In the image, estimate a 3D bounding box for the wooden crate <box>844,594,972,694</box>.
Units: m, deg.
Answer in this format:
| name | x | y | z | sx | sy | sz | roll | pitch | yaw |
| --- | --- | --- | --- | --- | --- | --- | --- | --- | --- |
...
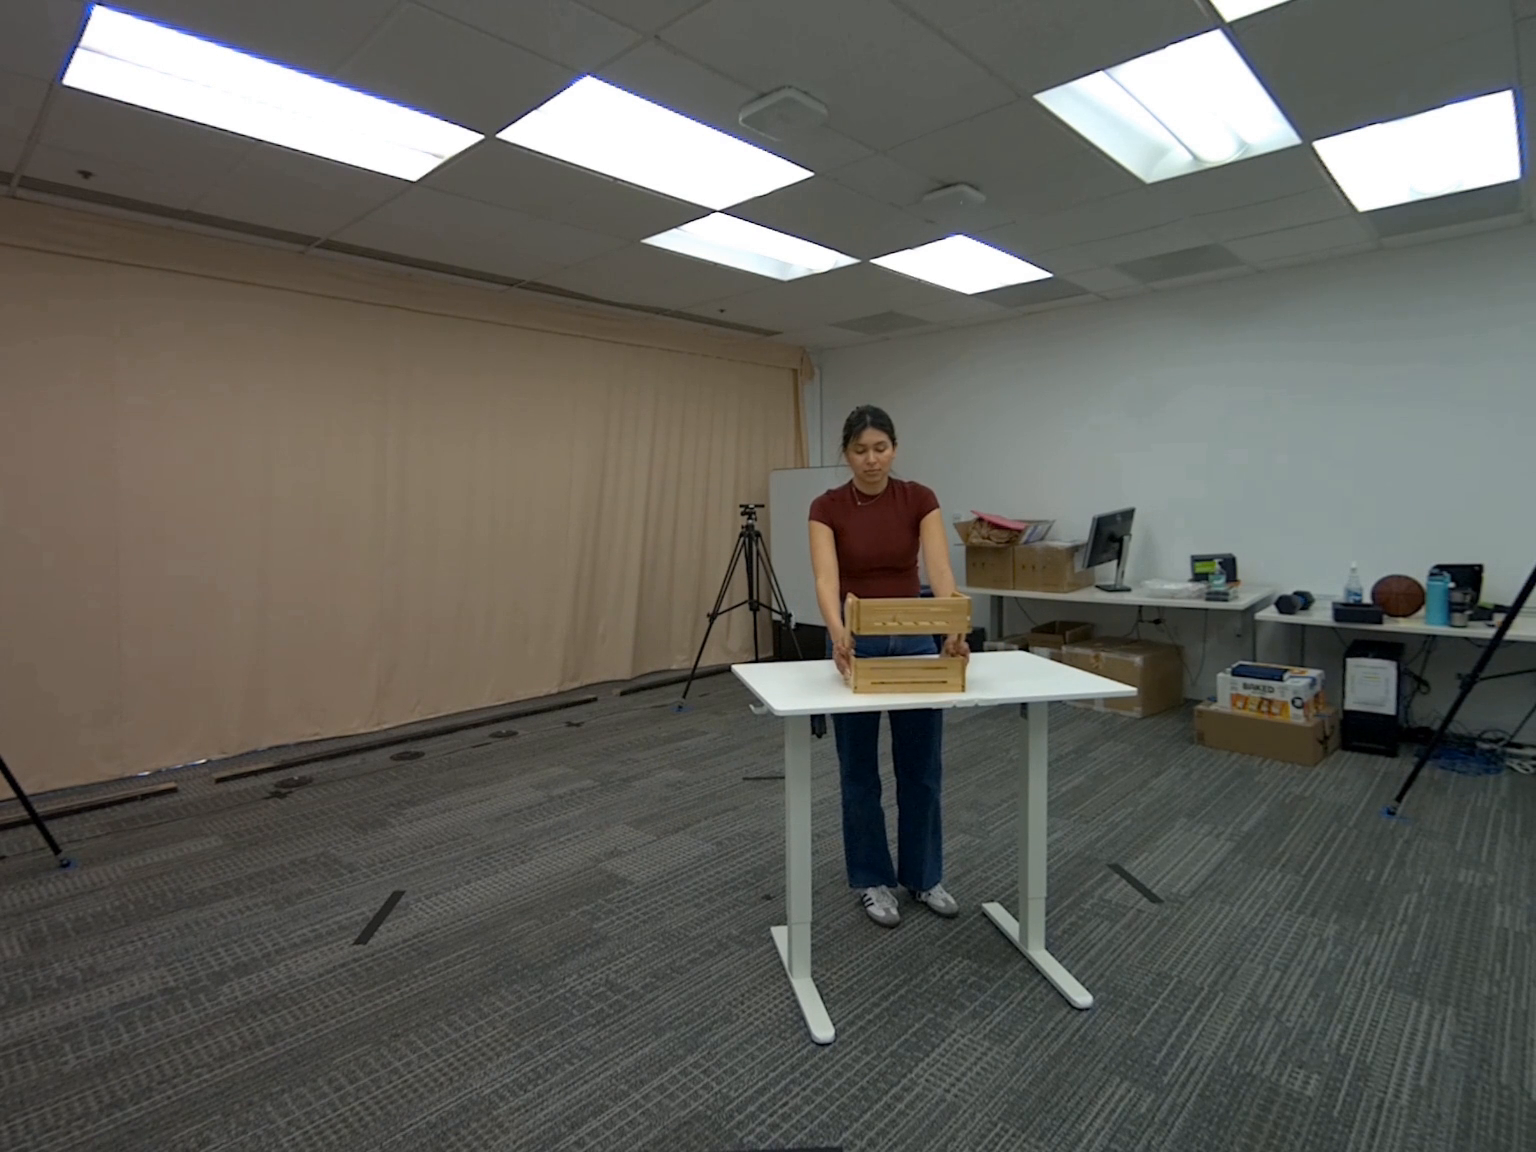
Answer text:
| name | x | y | z | sx | sy | sz | roll | pitch | yaw |
| --- | --- | --- | --- | --- | --- | --- | --- | --- | --- |
| wooden crate | 0.376 | 0.174 | 2.354 | 0.324 | 0.272 | 0.304 | -1 | 5 | -3 |
